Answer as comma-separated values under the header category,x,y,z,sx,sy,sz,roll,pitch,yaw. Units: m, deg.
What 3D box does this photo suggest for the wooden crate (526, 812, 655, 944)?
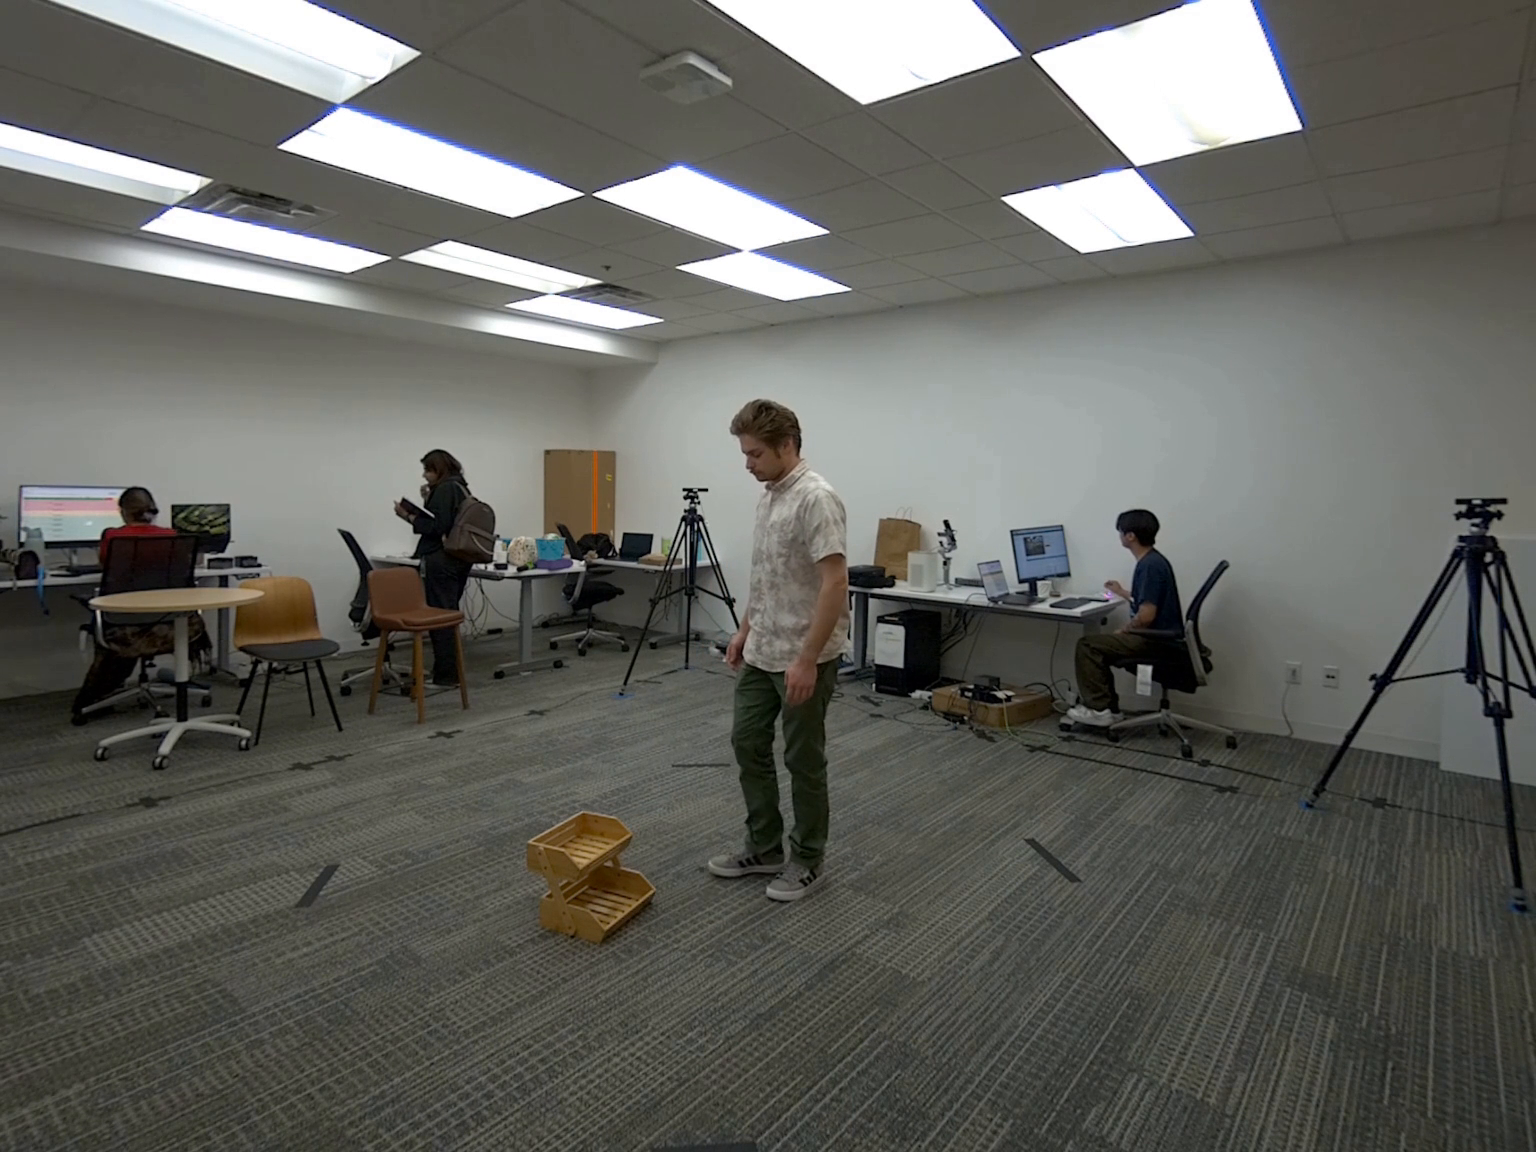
category,x,y,z,sx,sy,sz,roll,pitch,yaw
wooden crate,-0.576,0.963,2.765,0.310,0.272,0.317,1,4,25
